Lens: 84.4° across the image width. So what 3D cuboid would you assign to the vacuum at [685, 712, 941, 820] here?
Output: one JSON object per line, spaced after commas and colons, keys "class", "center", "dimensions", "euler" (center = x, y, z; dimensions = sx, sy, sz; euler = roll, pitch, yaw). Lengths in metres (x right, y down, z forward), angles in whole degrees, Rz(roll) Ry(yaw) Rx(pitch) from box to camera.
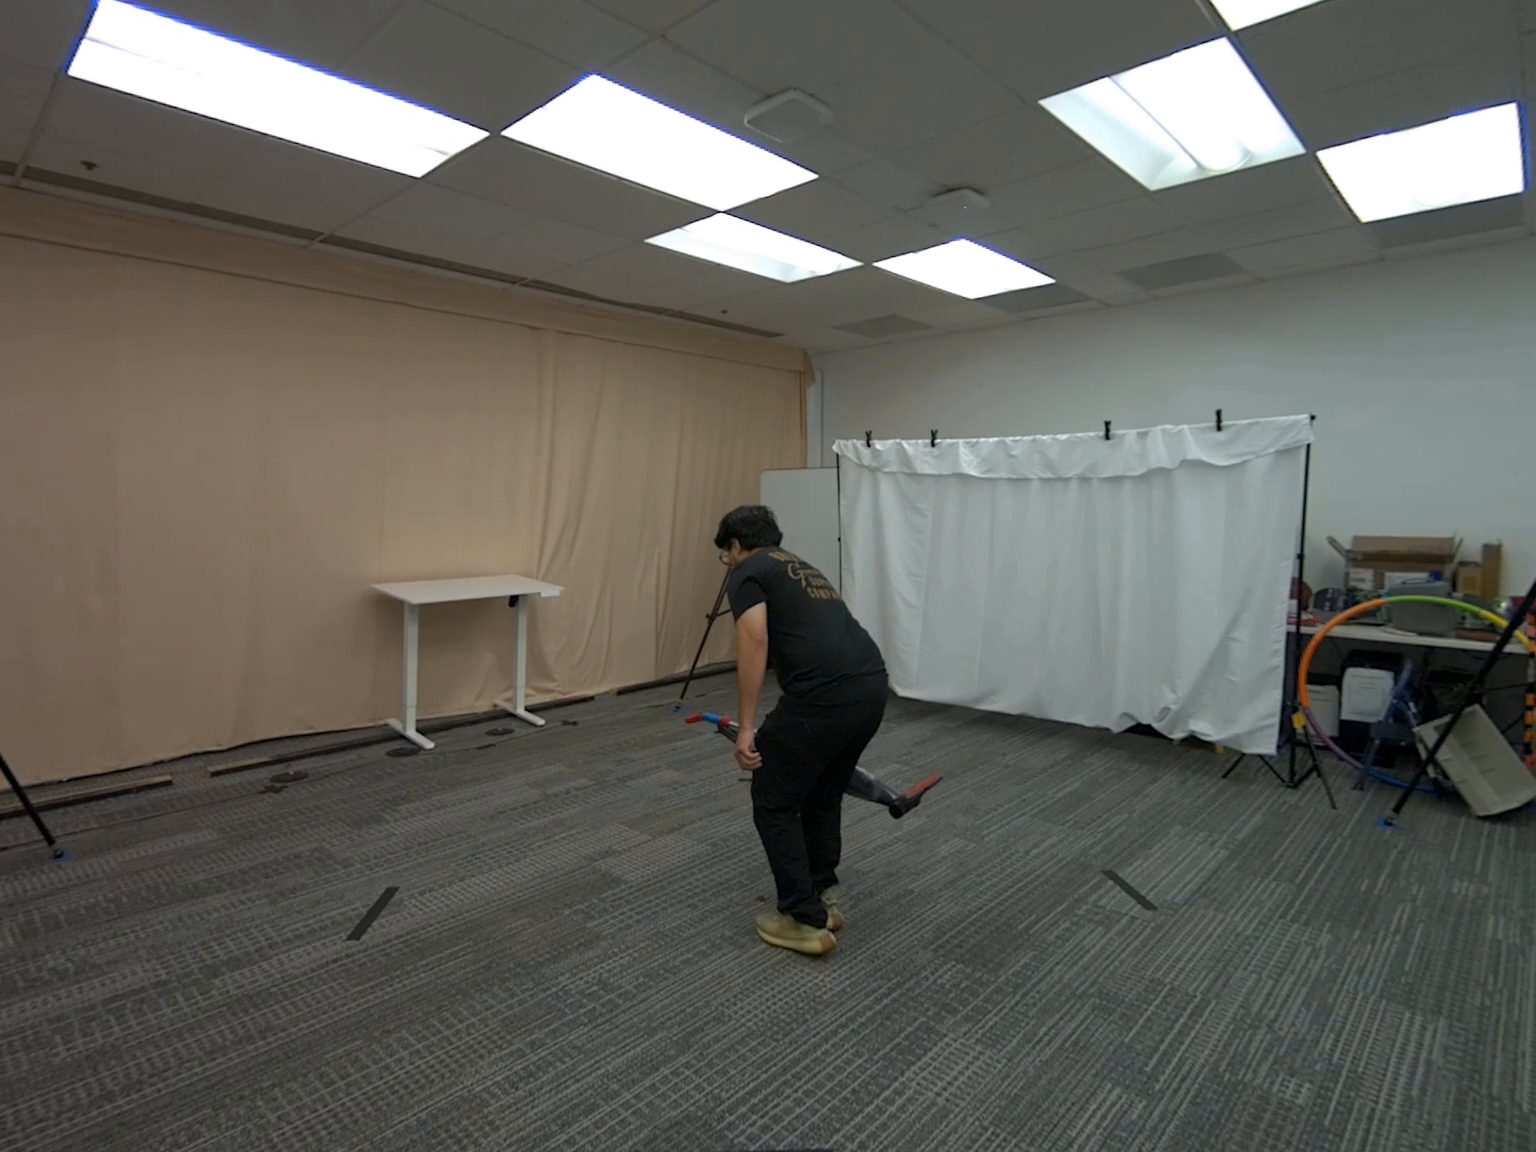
{"class": "vacuum", "center": [0.089, 0.682, 3.175], "dimensions": [1.085, 0.143, 0.245], "euler": [9, 11, 39]}
